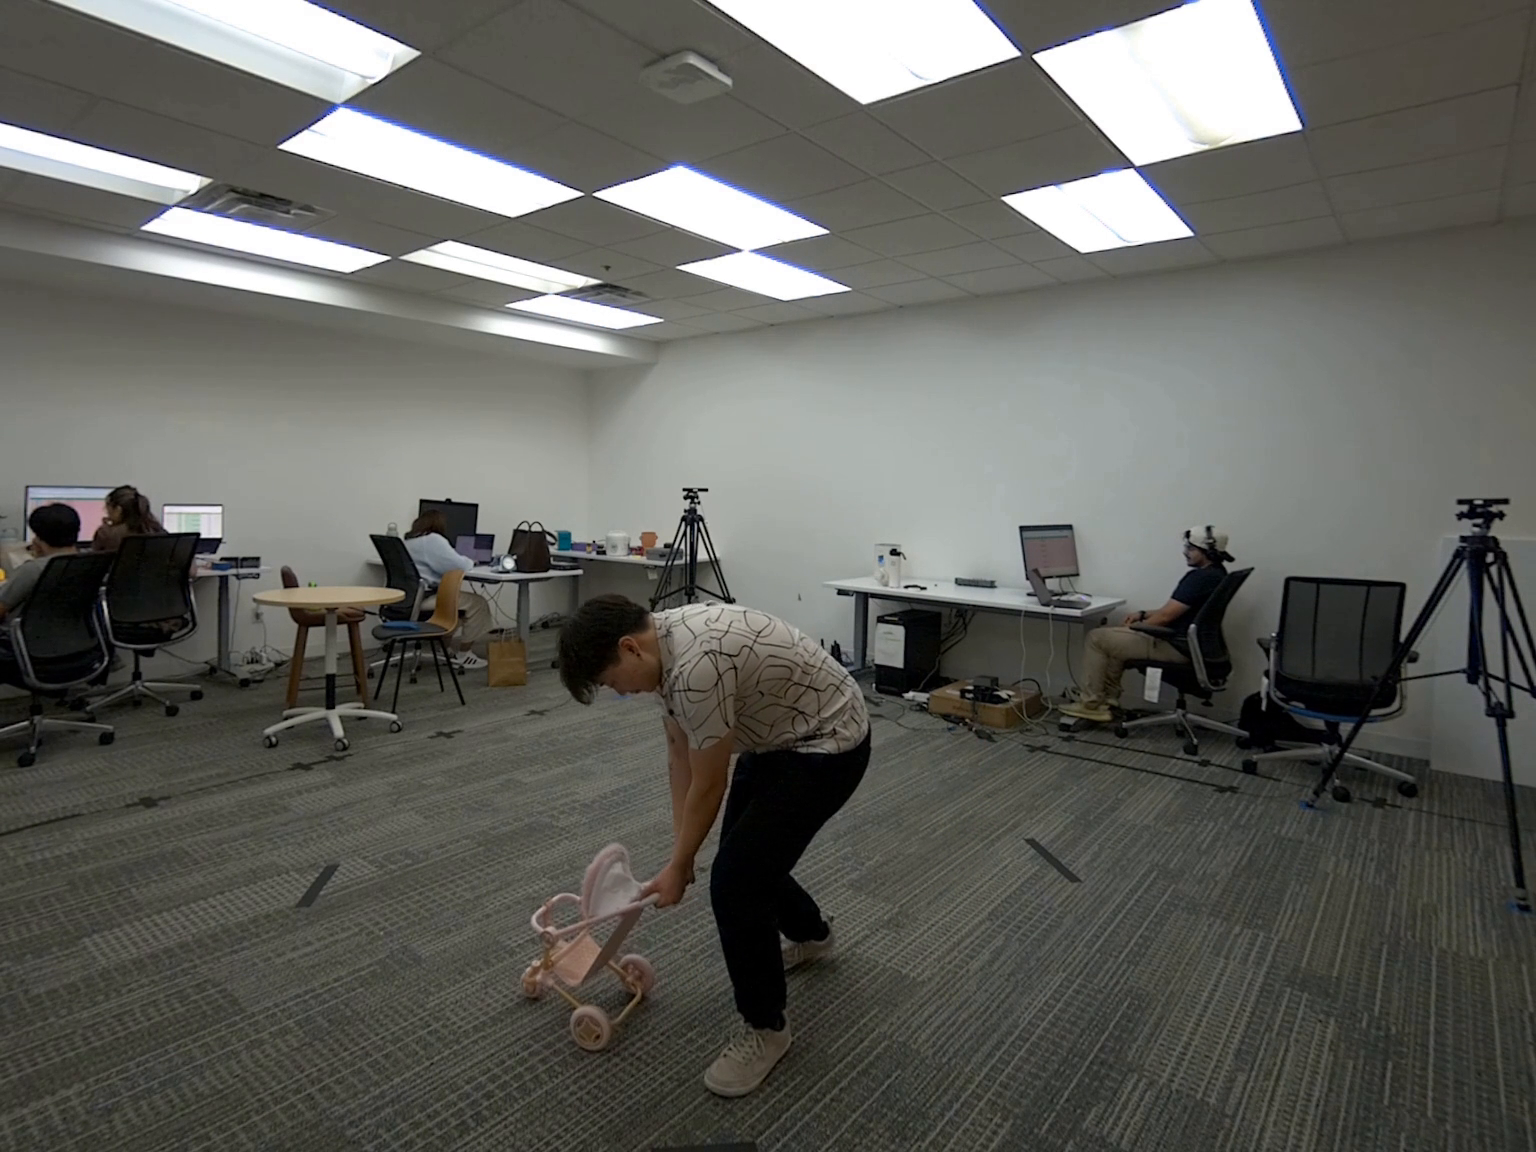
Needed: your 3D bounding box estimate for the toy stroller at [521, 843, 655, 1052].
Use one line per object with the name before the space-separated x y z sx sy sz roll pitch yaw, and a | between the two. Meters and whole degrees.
toy stroller | -0.458 0.934 2.233 0.351 0.532 0.275 21 10 23
